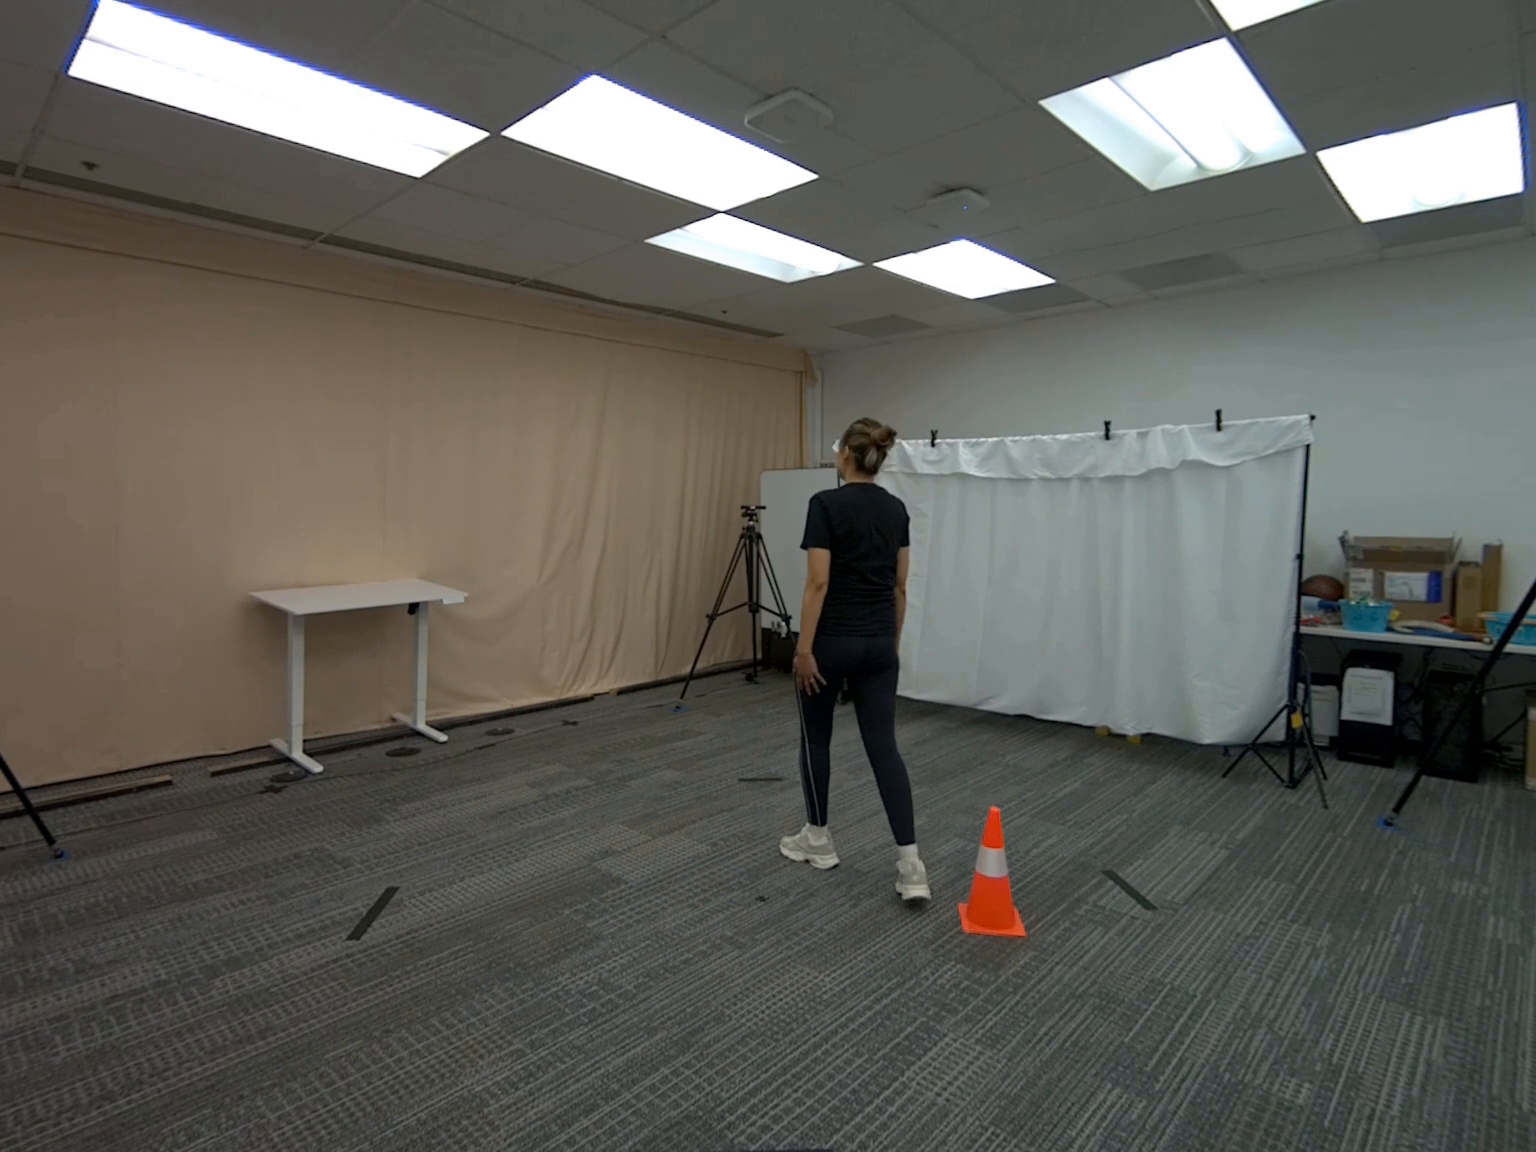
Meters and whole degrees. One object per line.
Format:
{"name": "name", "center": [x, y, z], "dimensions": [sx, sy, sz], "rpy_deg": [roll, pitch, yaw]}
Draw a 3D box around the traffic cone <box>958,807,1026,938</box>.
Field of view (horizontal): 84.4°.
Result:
{"name": "traffic cone", "center": [0.755, 0.970, 2.815], "dimensions": [0.208, 0.383, 0.200], "rpy_deg": [1, 3, 14]}
